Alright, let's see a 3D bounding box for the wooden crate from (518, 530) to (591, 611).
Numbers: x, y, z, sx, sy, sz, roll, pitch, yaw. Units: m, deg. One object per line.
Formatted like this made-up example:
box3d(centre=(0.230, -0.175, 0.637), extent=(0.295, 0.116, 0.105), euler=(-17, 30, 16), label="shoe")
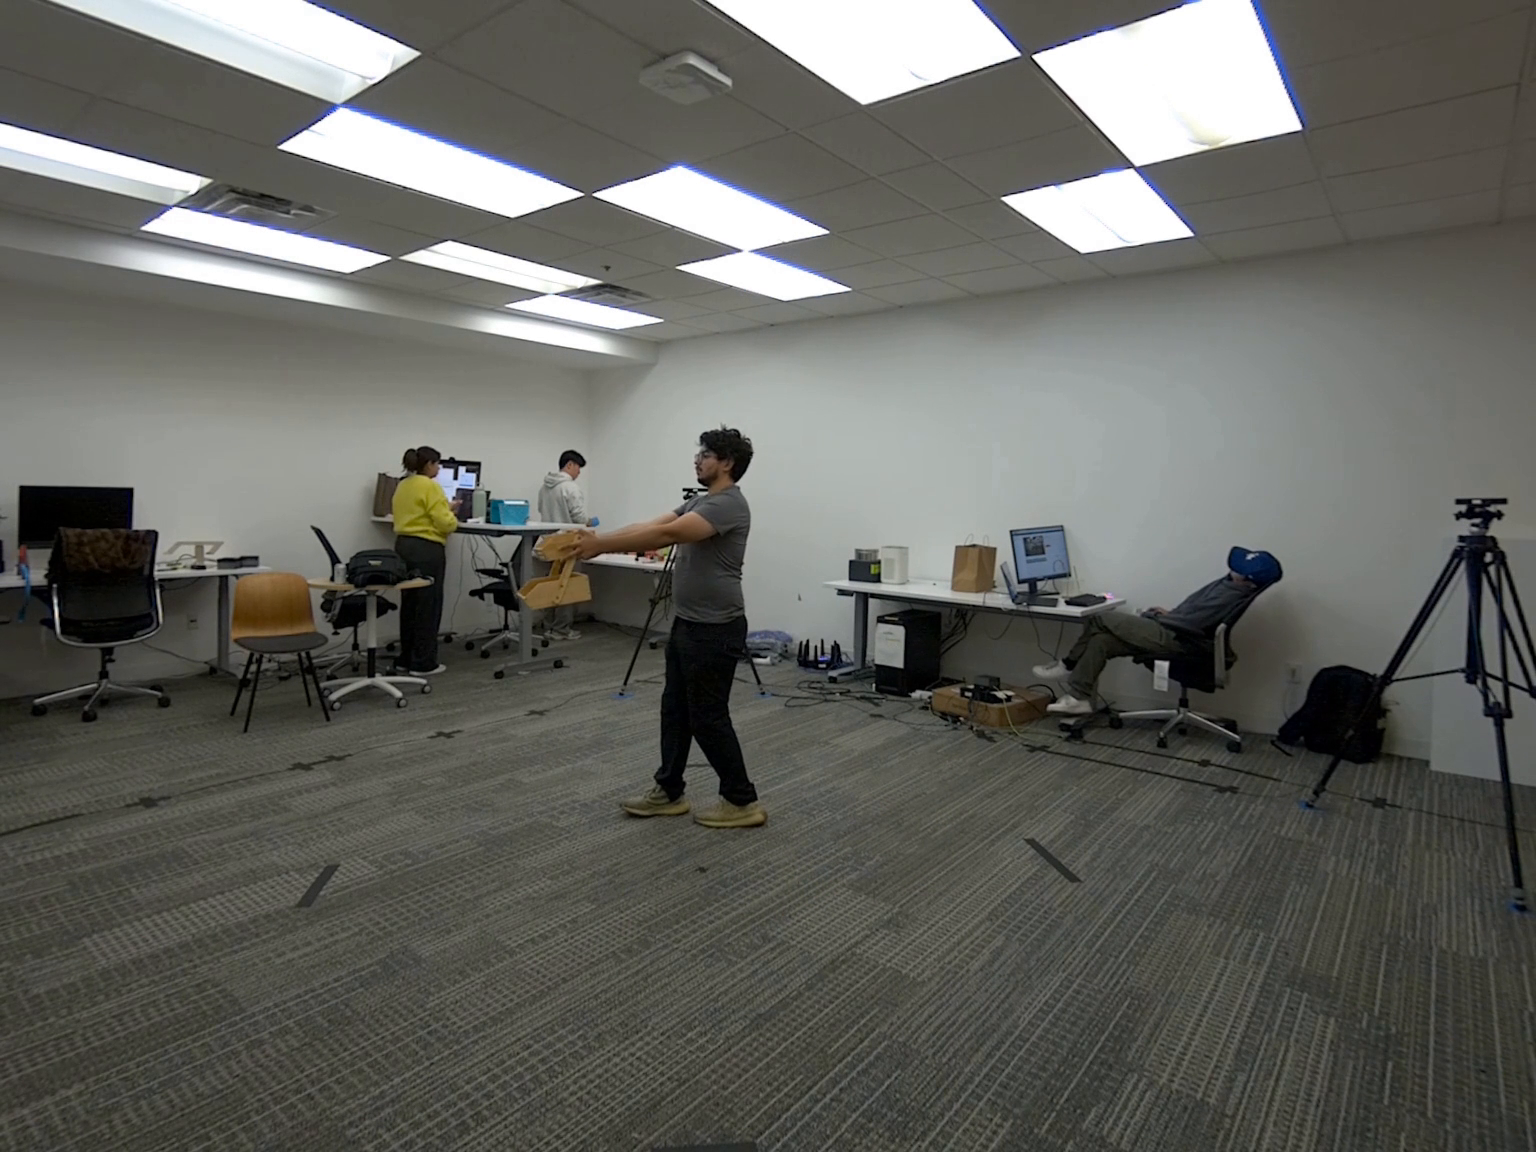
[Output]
box3d(centre=(-0.855, -0.039, 3.361), extent=(0.297, 0.272, 0.331), euler=(-9, 5, -17), label="wooden crate")
